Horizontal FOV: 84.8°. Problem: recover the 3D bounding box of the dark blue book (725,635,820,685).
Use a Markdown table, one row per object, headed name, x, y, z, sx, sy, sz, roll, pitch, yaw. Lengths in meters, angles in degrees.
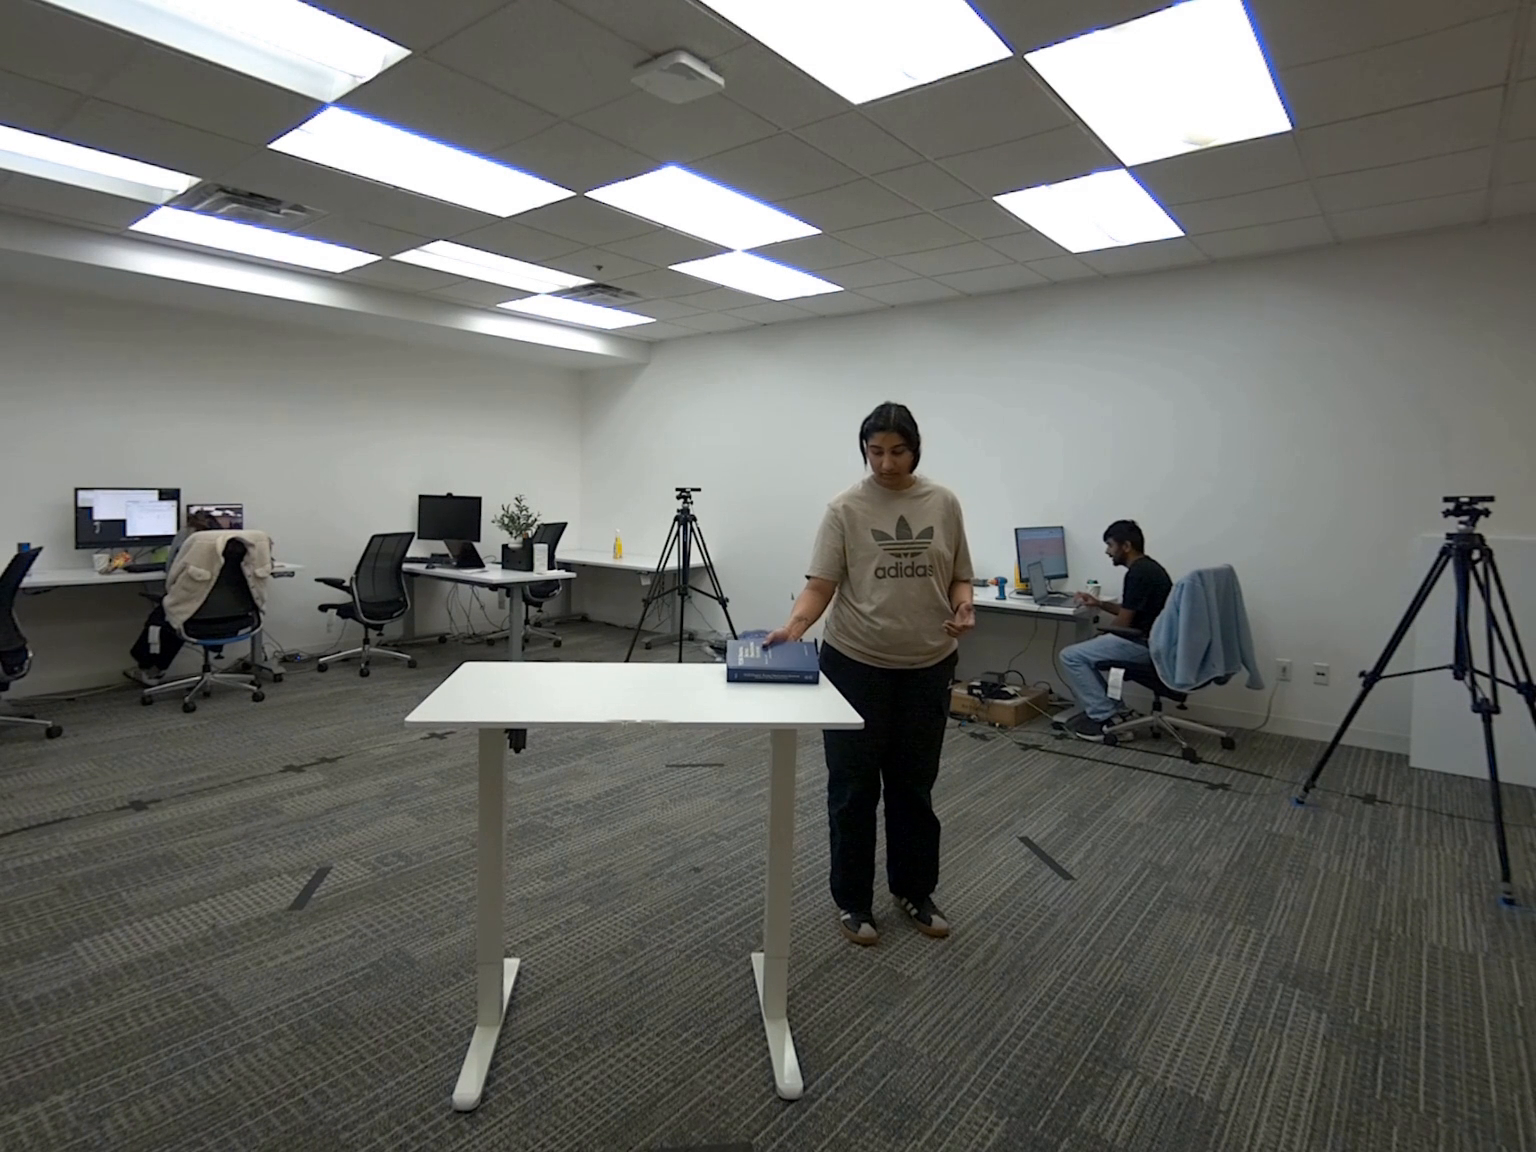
| name | x | y | z | sx | sy | sz | roll | pitch | yaw |
| --- | --- | --- | --- | --- | --- | --- | --- | --- | --- |
| dark blue book | 0.000 | 0.233 | 2.302 | 0.245 | 0.044 | 0.166 | 0 | 22 | 0 |
